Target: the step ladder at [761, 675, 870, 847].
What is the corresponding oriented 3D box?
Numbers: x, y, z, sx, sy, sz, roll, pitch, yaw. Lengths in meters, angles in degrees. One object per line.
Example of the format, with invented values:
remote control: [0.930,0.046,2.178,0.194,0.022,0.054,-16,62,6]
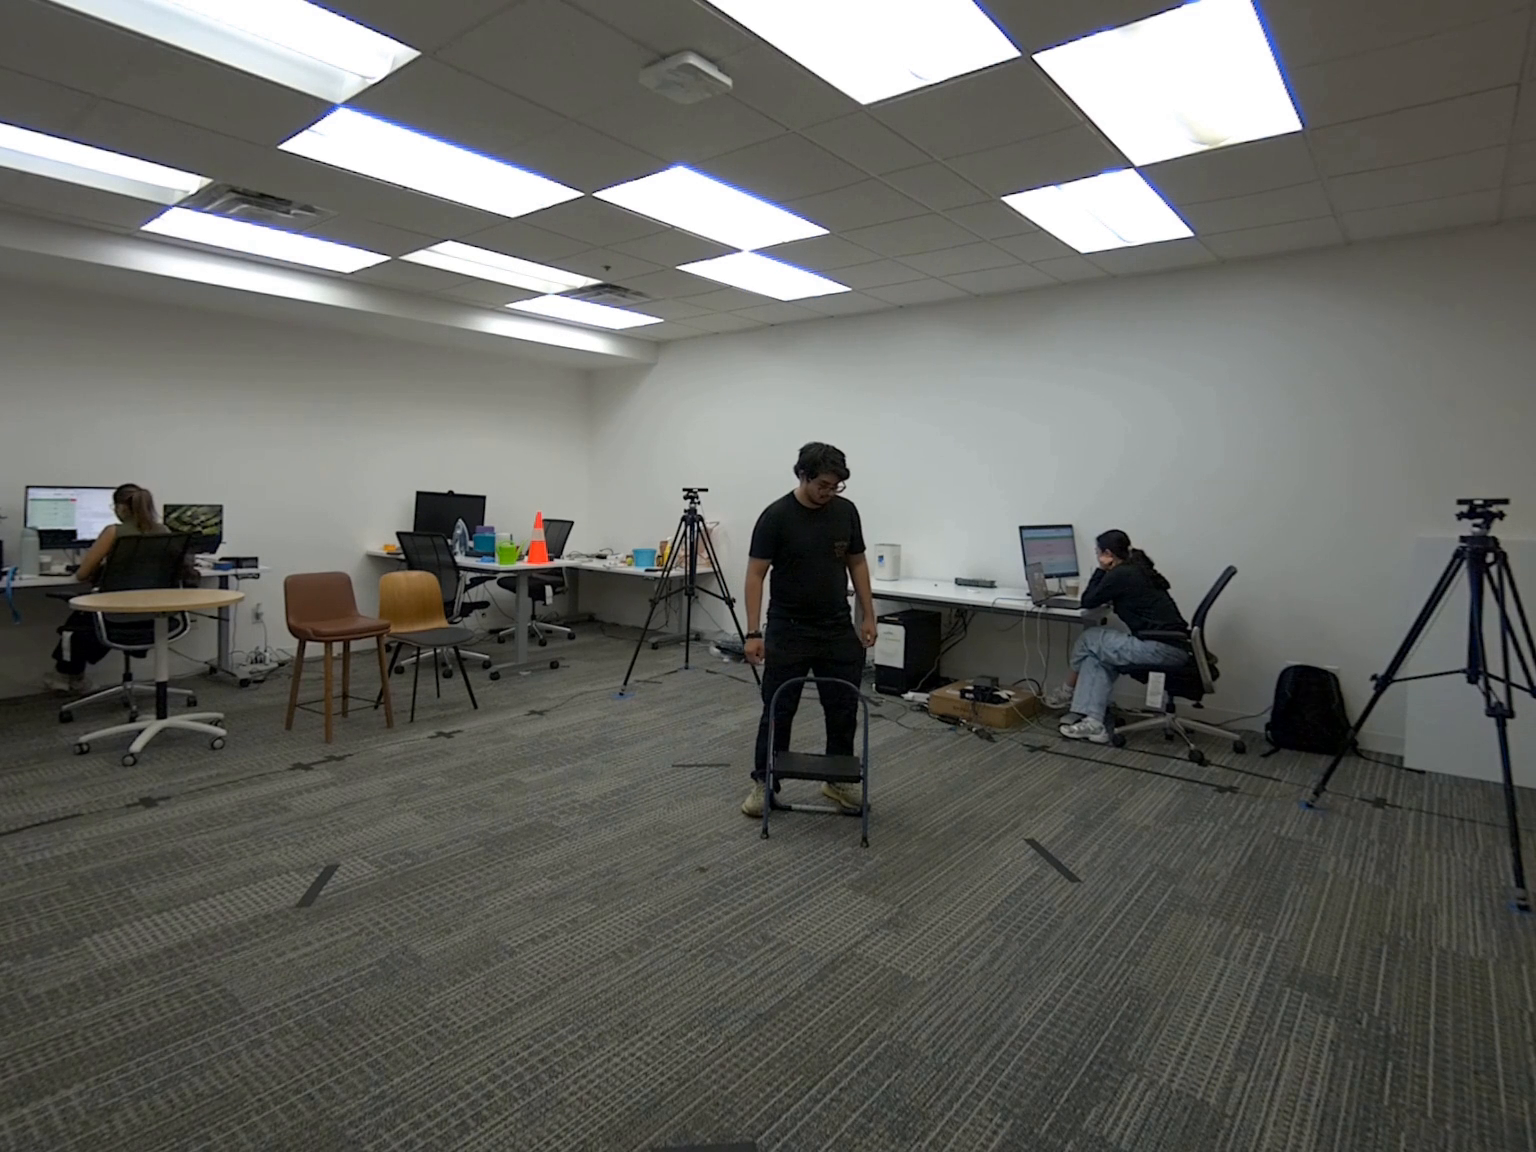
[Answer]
step ladder: [0.202,0.742,3.523,0.434,0.603,0.348,2,5,7]
